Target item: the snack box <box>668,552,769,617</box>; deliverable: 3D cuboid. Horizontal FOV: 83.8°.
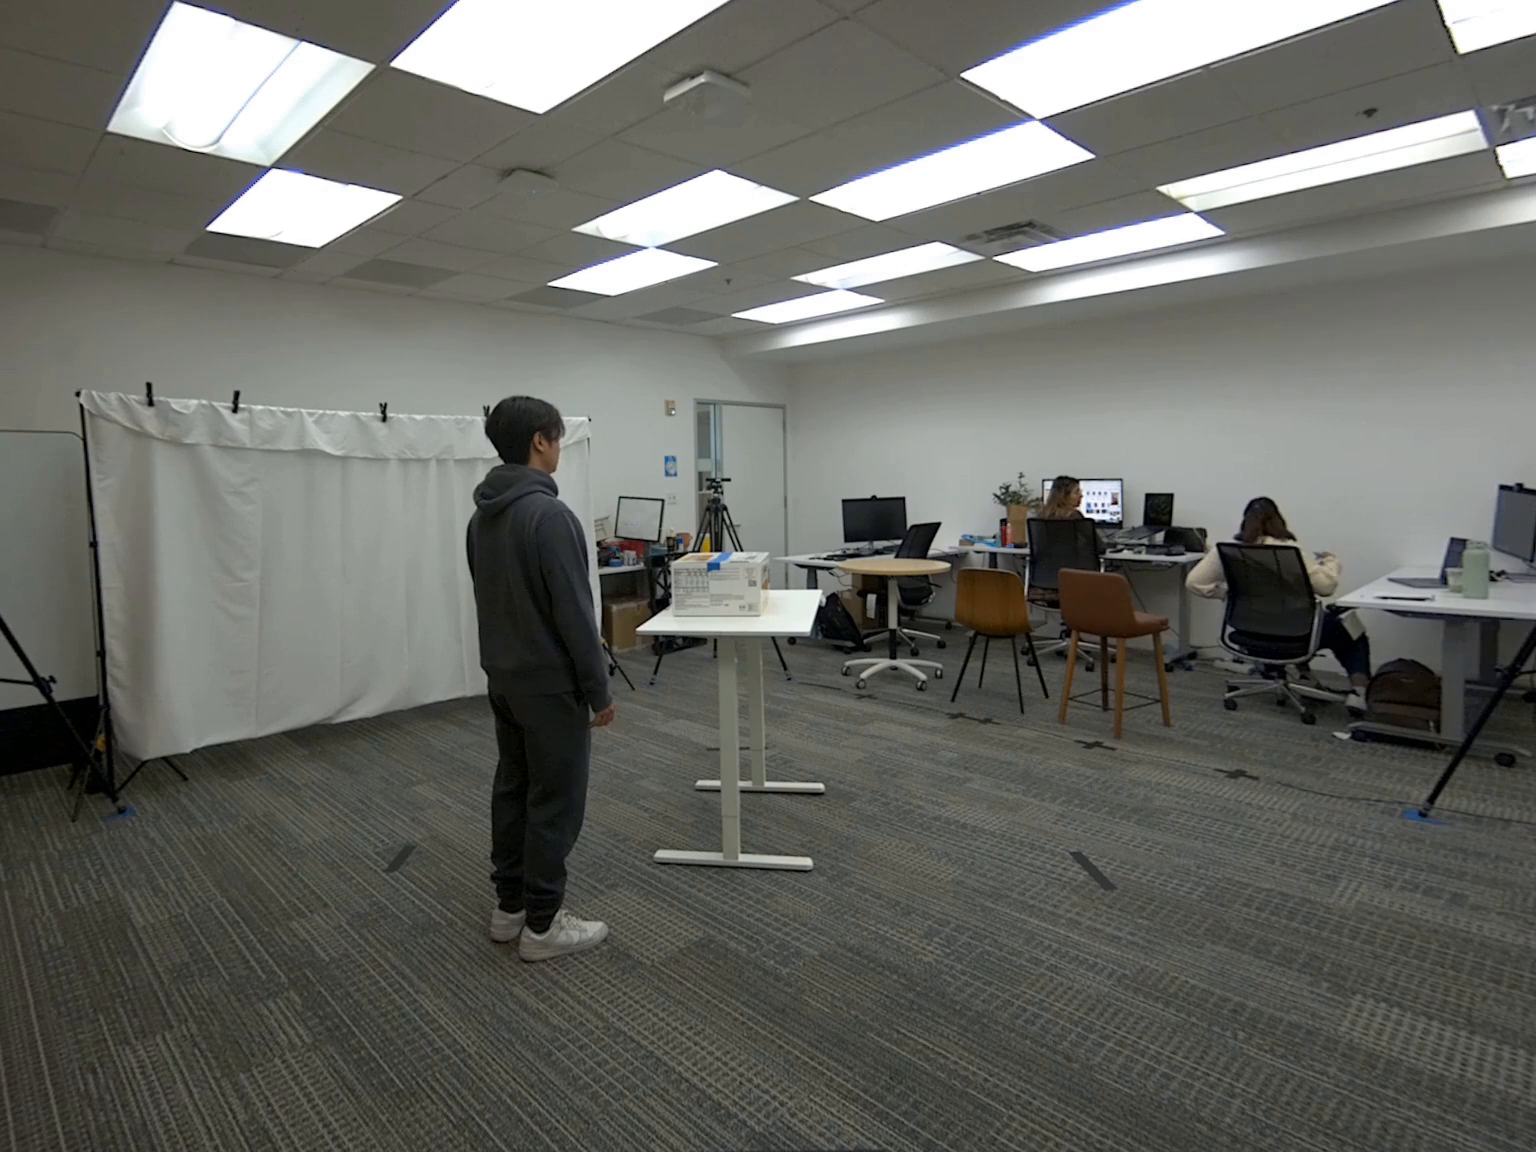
[{"bbox_3d":[-0.178,0.028,3.395,0.343,0.205,0.404,-1,6,7],"label":"snack box"}]
